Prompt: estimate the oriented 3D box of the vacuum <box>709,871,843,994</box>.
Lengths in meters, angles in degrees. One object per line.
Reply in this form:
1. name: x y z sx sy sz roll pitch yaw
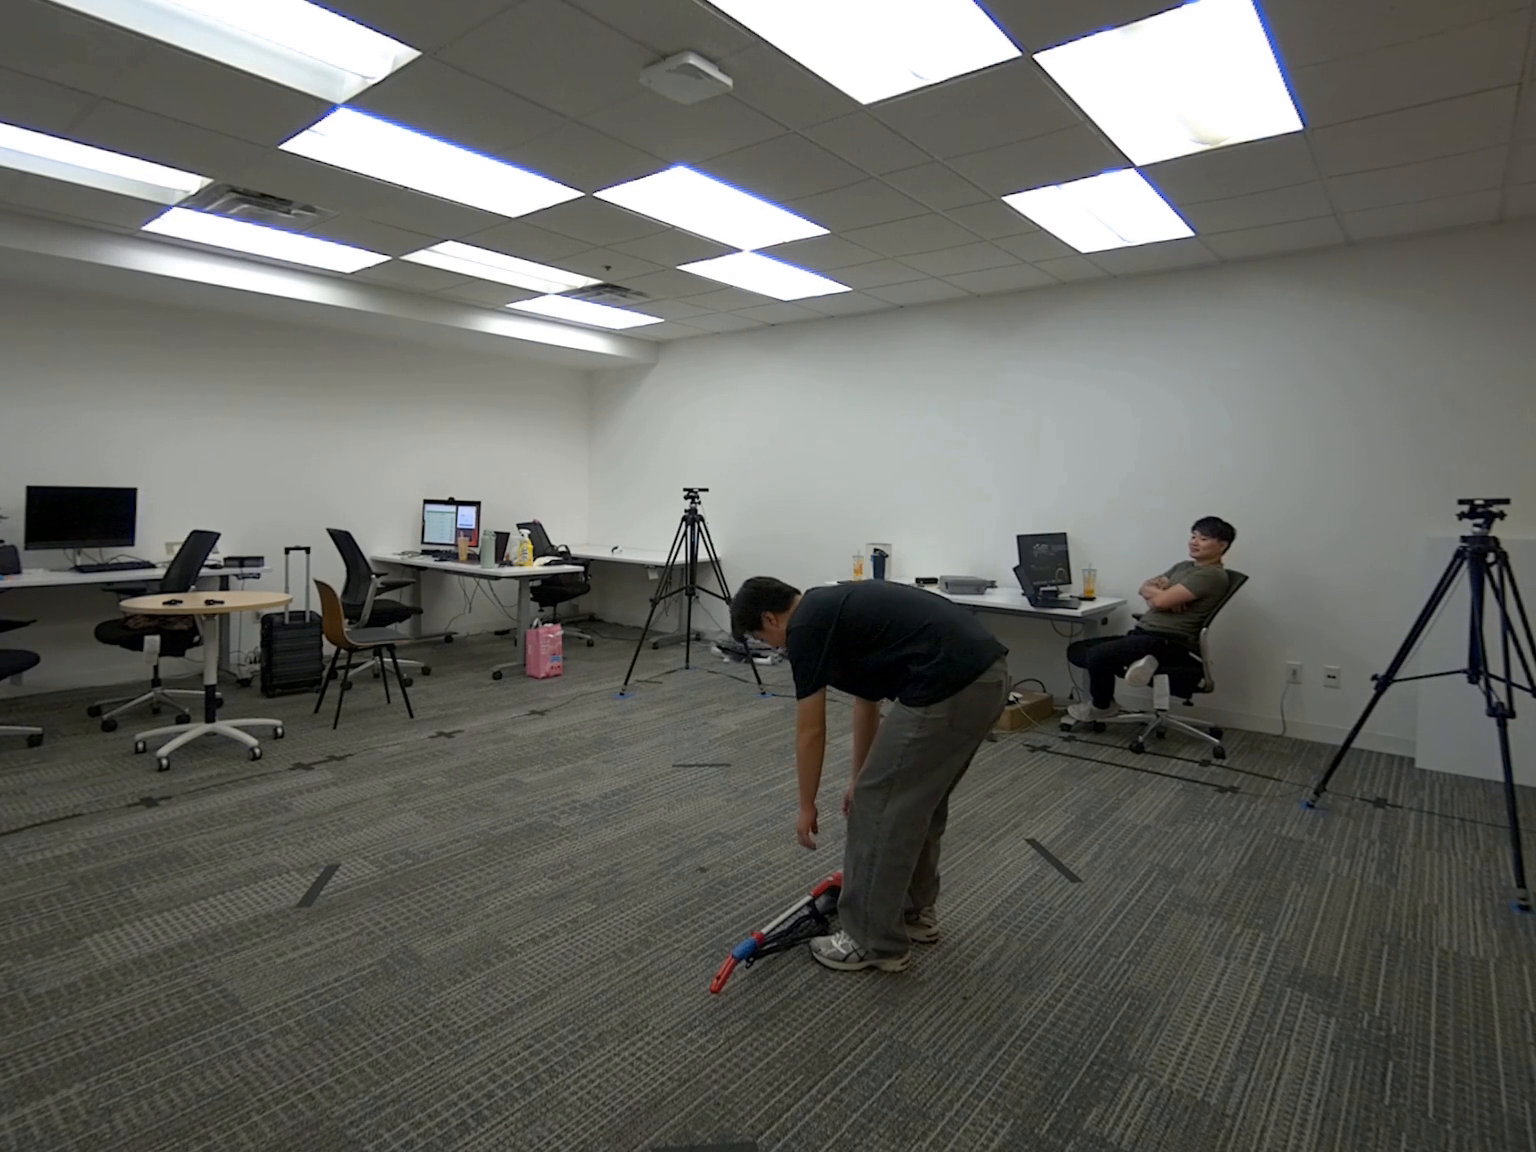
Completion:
1. vacuum: 0.128 1.057 2.689 0.261 0.143 1.022 9 9 32
